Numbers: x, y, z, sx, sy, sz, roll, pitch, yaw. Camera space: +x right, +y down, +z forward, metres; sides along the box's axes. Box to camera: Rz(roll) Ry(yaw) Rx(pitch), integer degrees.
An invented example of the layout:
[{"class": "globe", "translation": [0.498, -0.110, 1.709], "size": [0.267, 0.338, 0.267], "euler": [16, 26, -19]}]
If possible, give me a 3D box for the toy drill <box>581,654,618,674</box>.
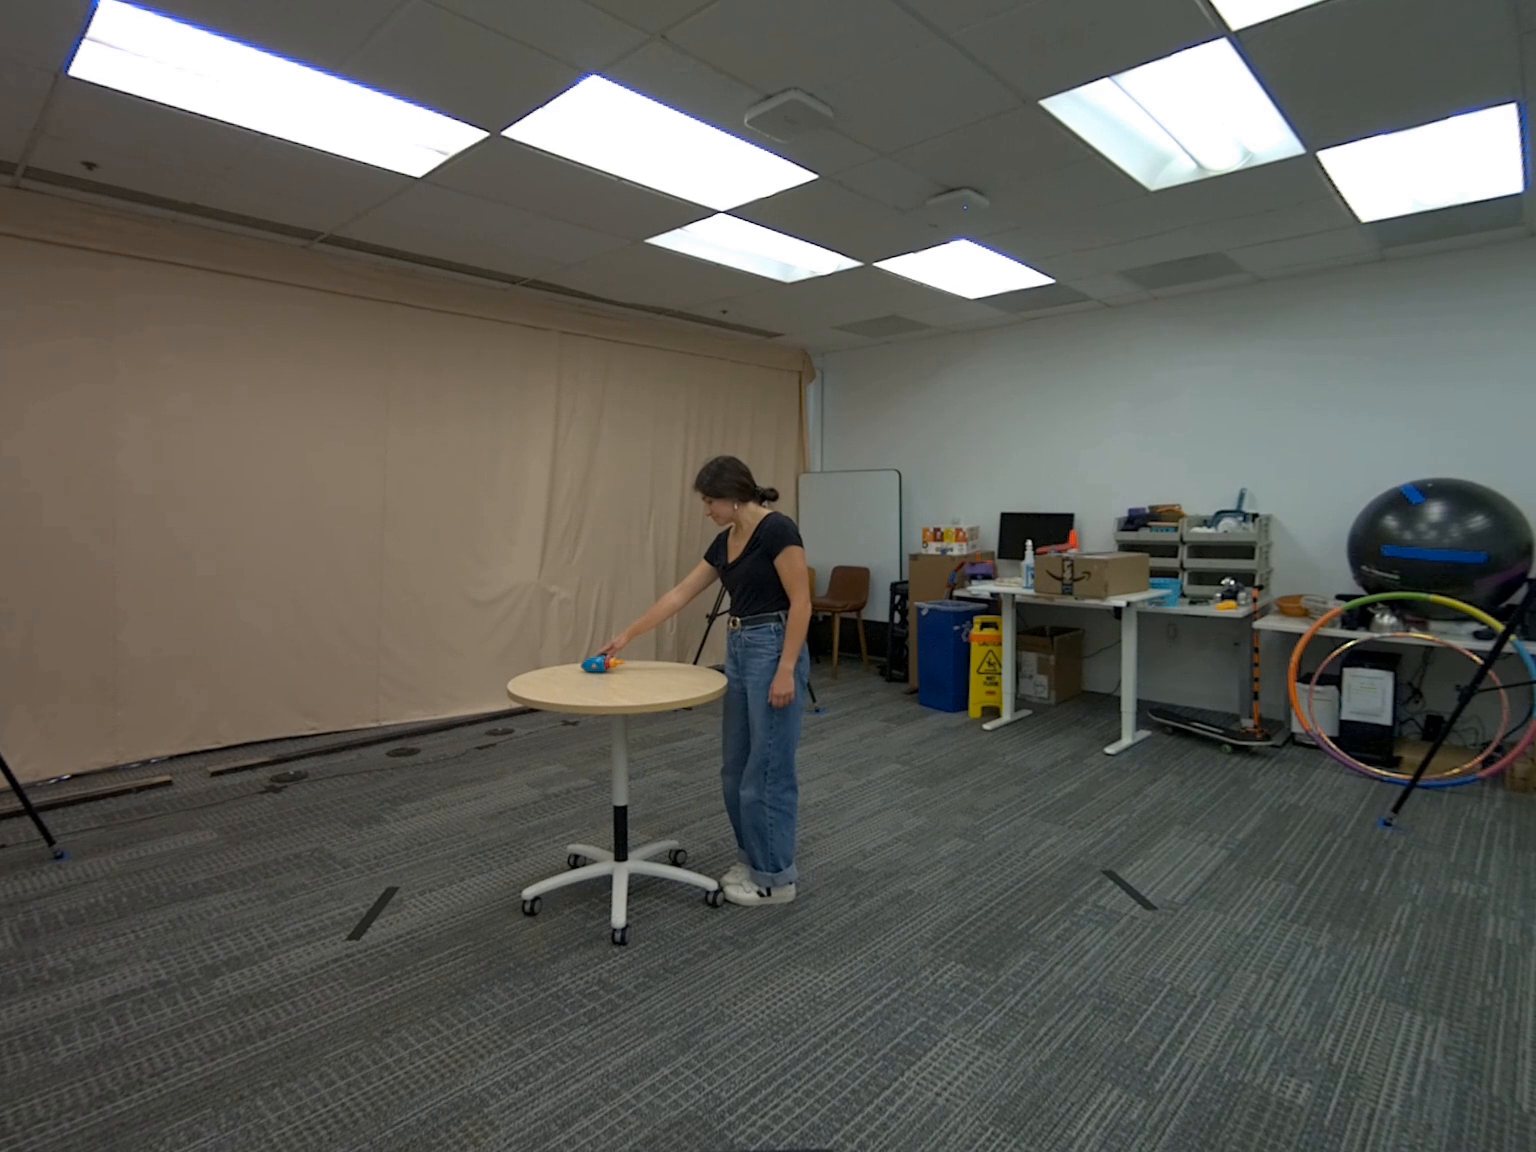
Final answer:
[{"class": "toy drill", "translation": [-0.595, 0.329, 3.135], "size": [0.171, 0.061, 0.145], "euler": [-8, -1, 7]}]
